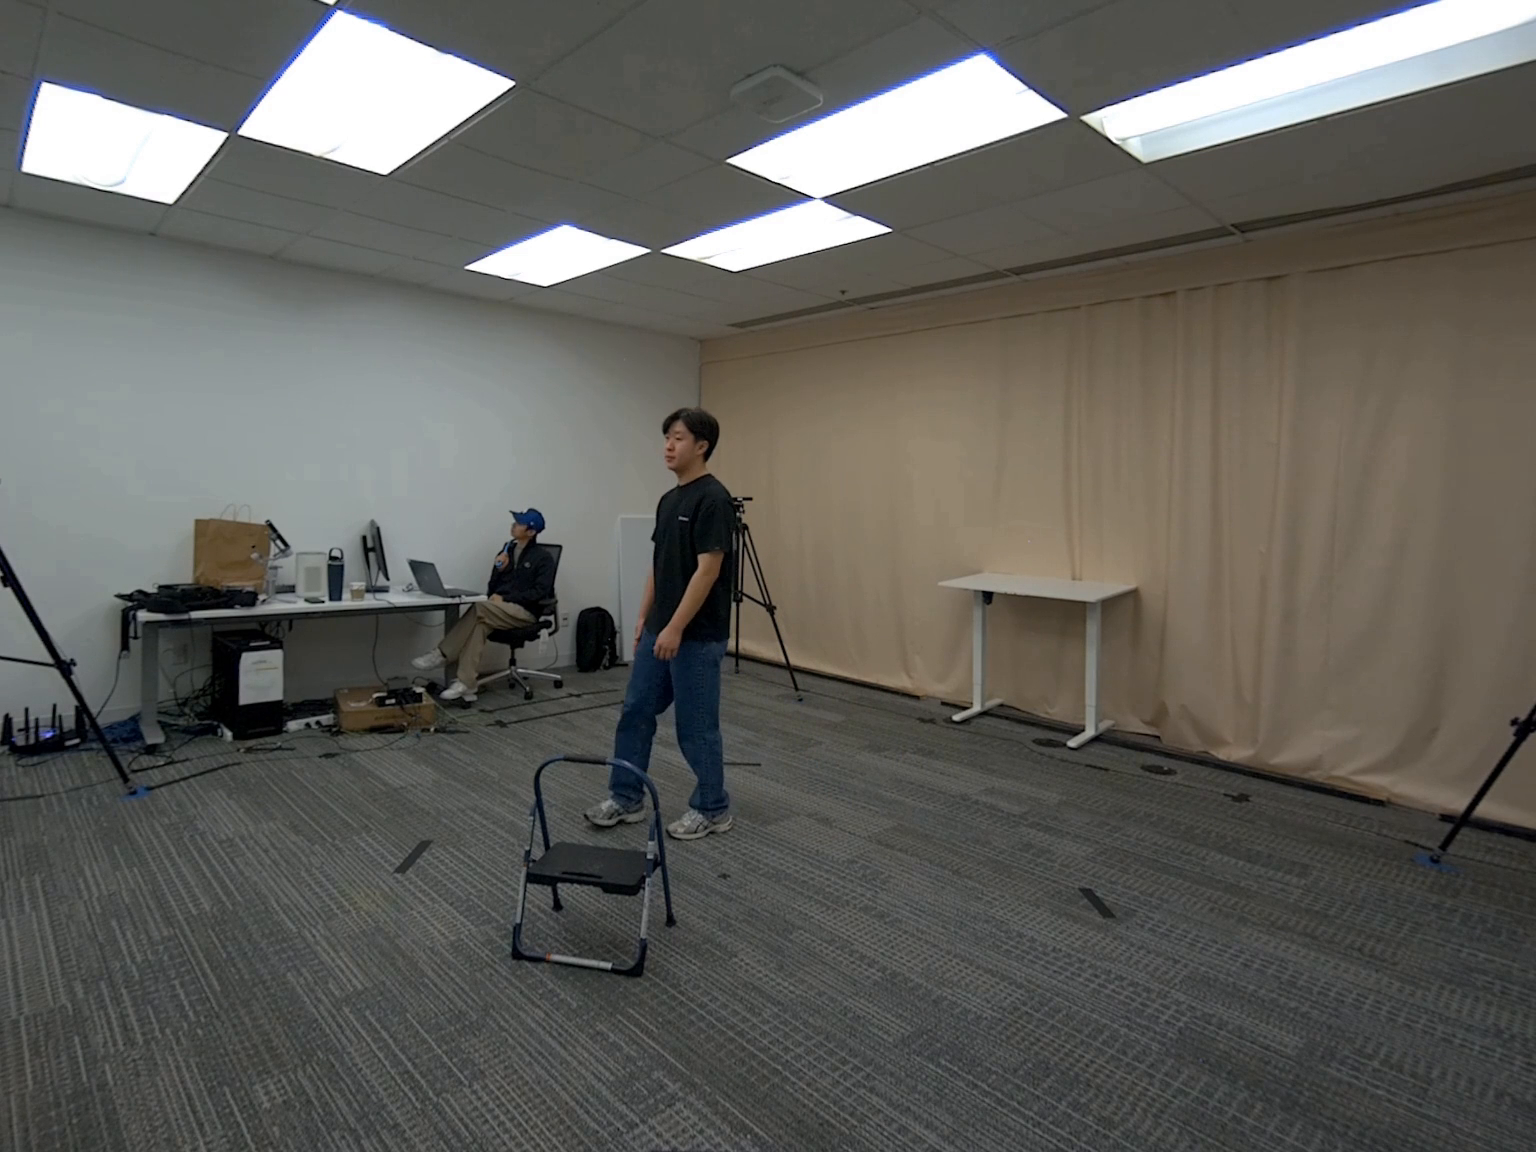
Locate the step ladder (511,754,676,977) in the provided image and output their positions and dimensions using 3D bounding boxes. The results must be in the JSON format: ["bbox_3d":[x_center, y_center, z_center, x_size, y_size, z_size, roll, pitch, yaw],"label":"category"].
[{"bbox_3d":[-0.546,0.844,2.620,0.435,0.604,0.347,2,4,11],"label":"step ladder"}]
